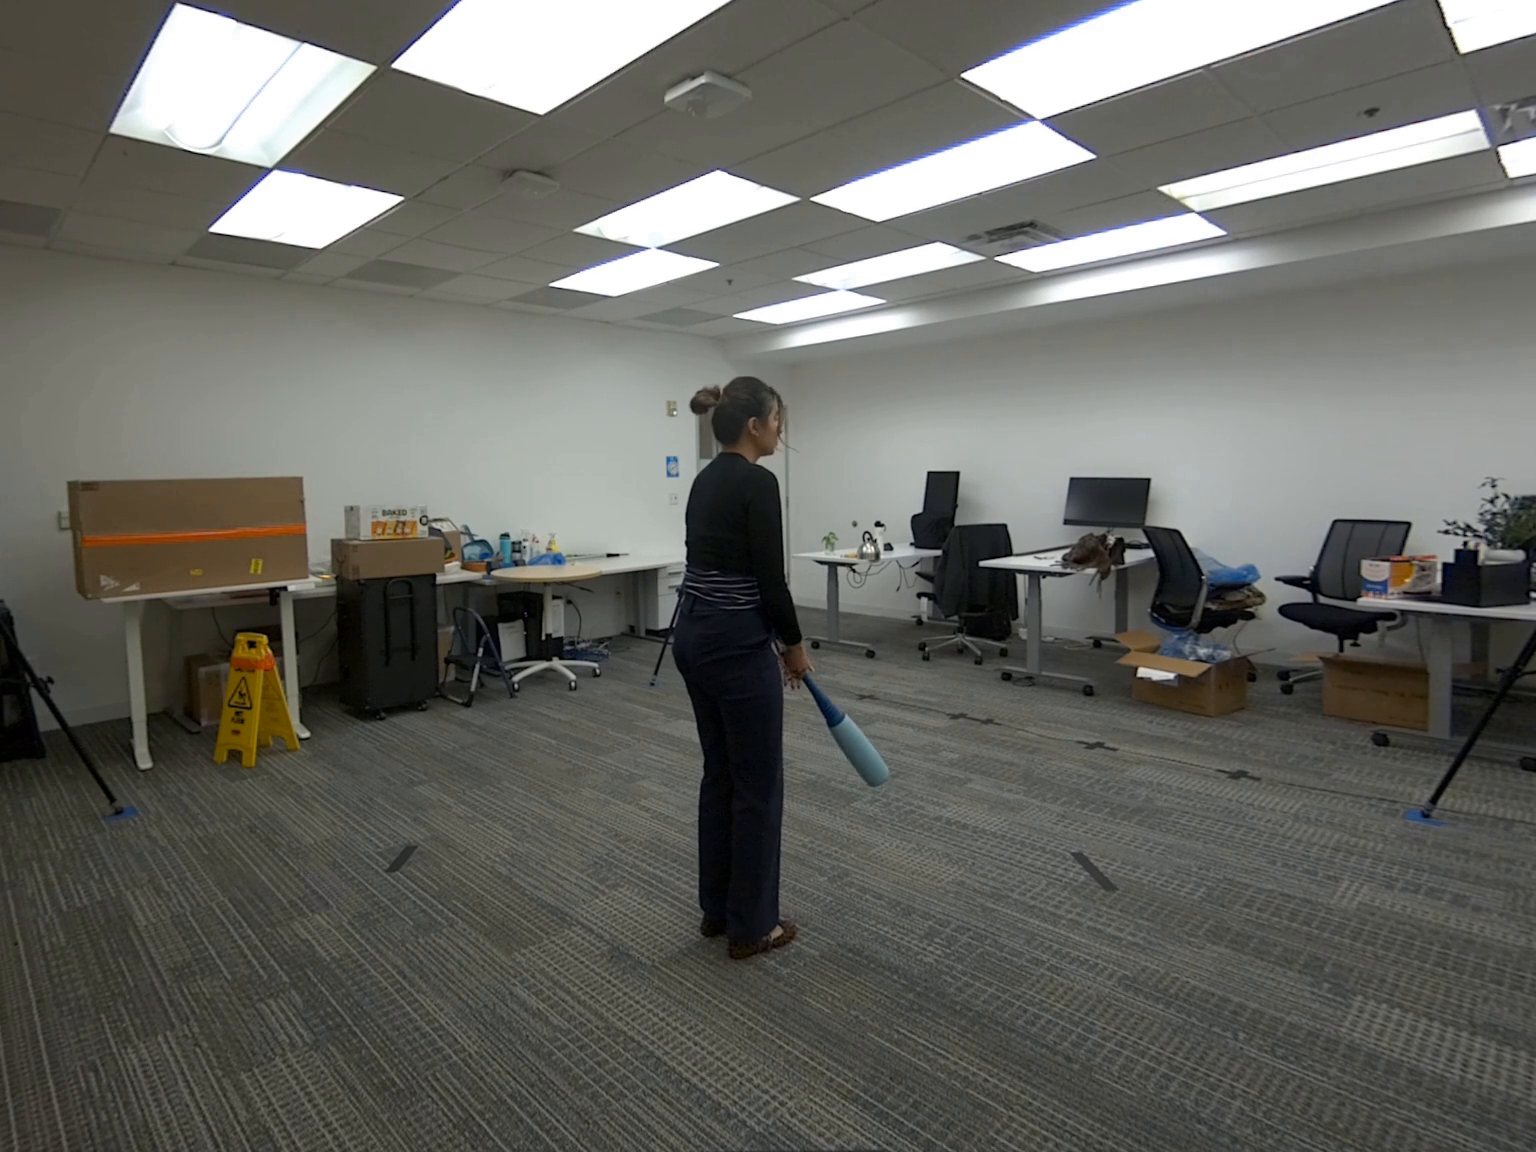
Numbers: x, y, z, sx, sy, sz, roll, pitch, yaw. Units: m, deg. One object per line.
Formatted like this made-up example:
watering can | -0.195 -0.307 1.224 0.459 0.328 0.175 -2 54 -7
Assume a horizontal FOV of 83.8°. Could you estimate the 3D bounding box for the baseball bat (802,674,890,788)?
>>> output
baseball bat | 0.209 0.441 2.685 0.089 0.535 0.090 -35 11 8
